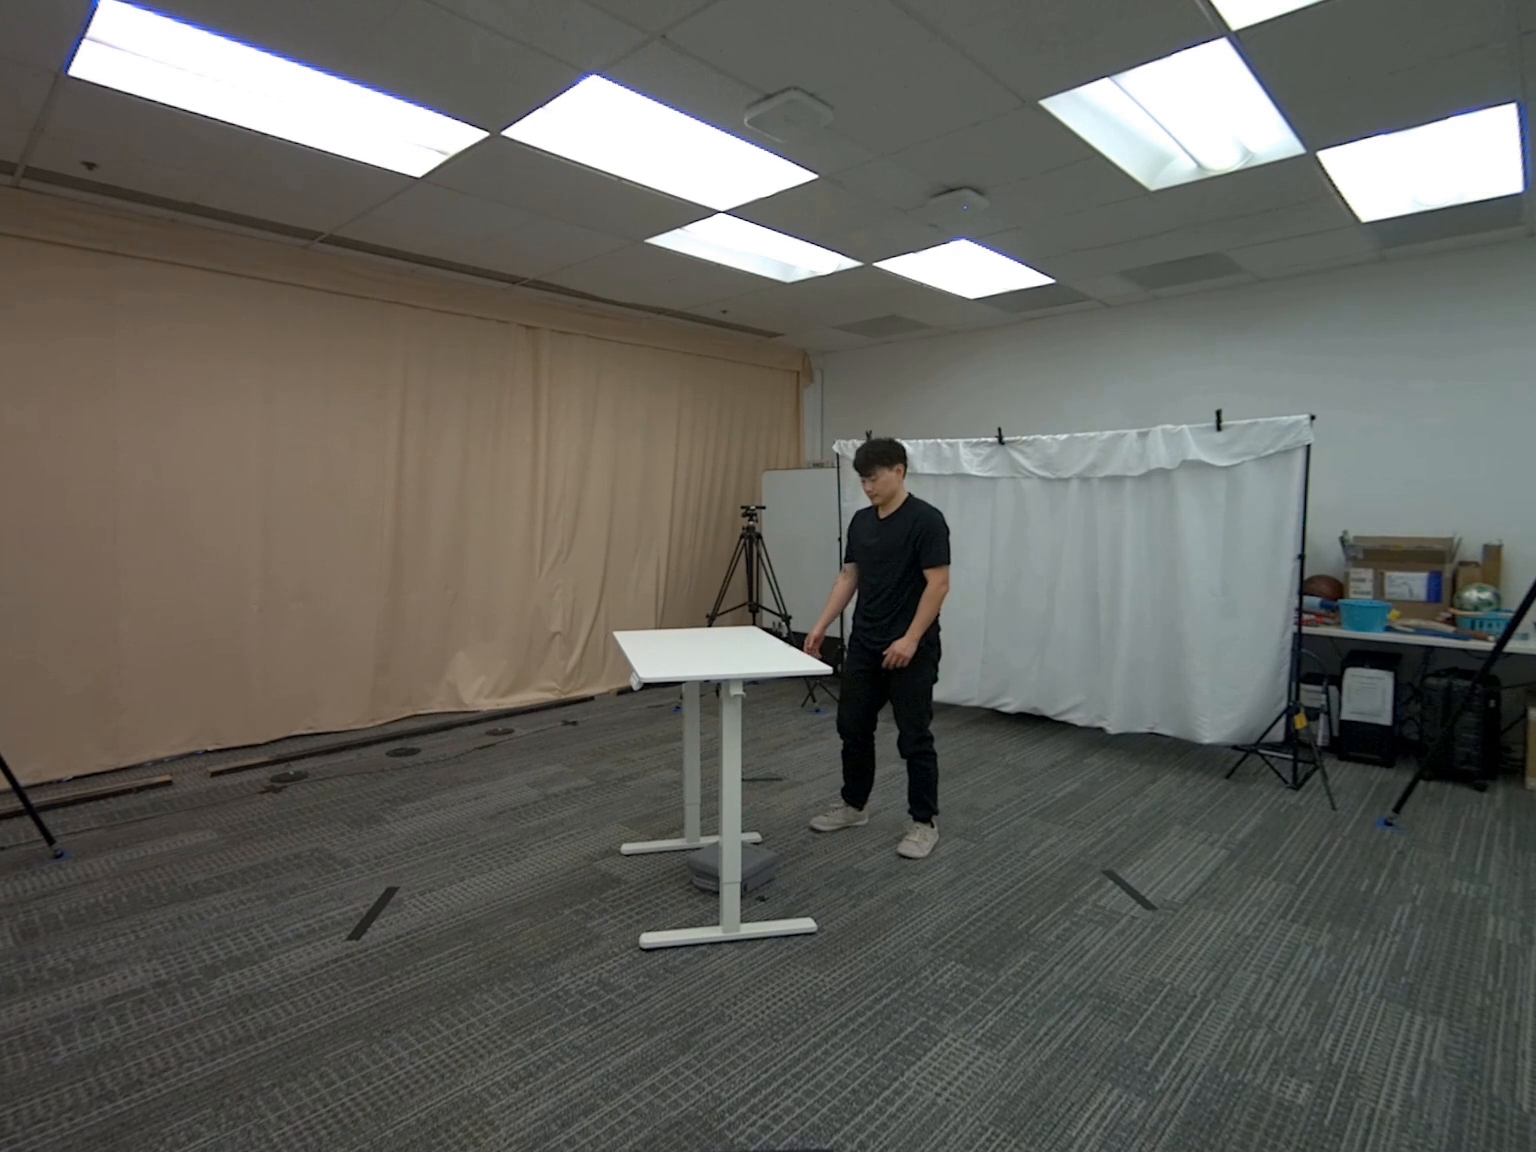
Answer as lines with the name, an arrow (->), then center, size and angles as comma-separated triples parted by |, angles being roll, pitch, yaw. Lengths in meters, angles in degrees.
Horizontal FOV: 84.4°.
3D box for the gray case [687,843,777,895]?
gray case -> -0.131, 1.070, 3.121 | 0.265, 0.104, 0.253 | 5, 9, 40
